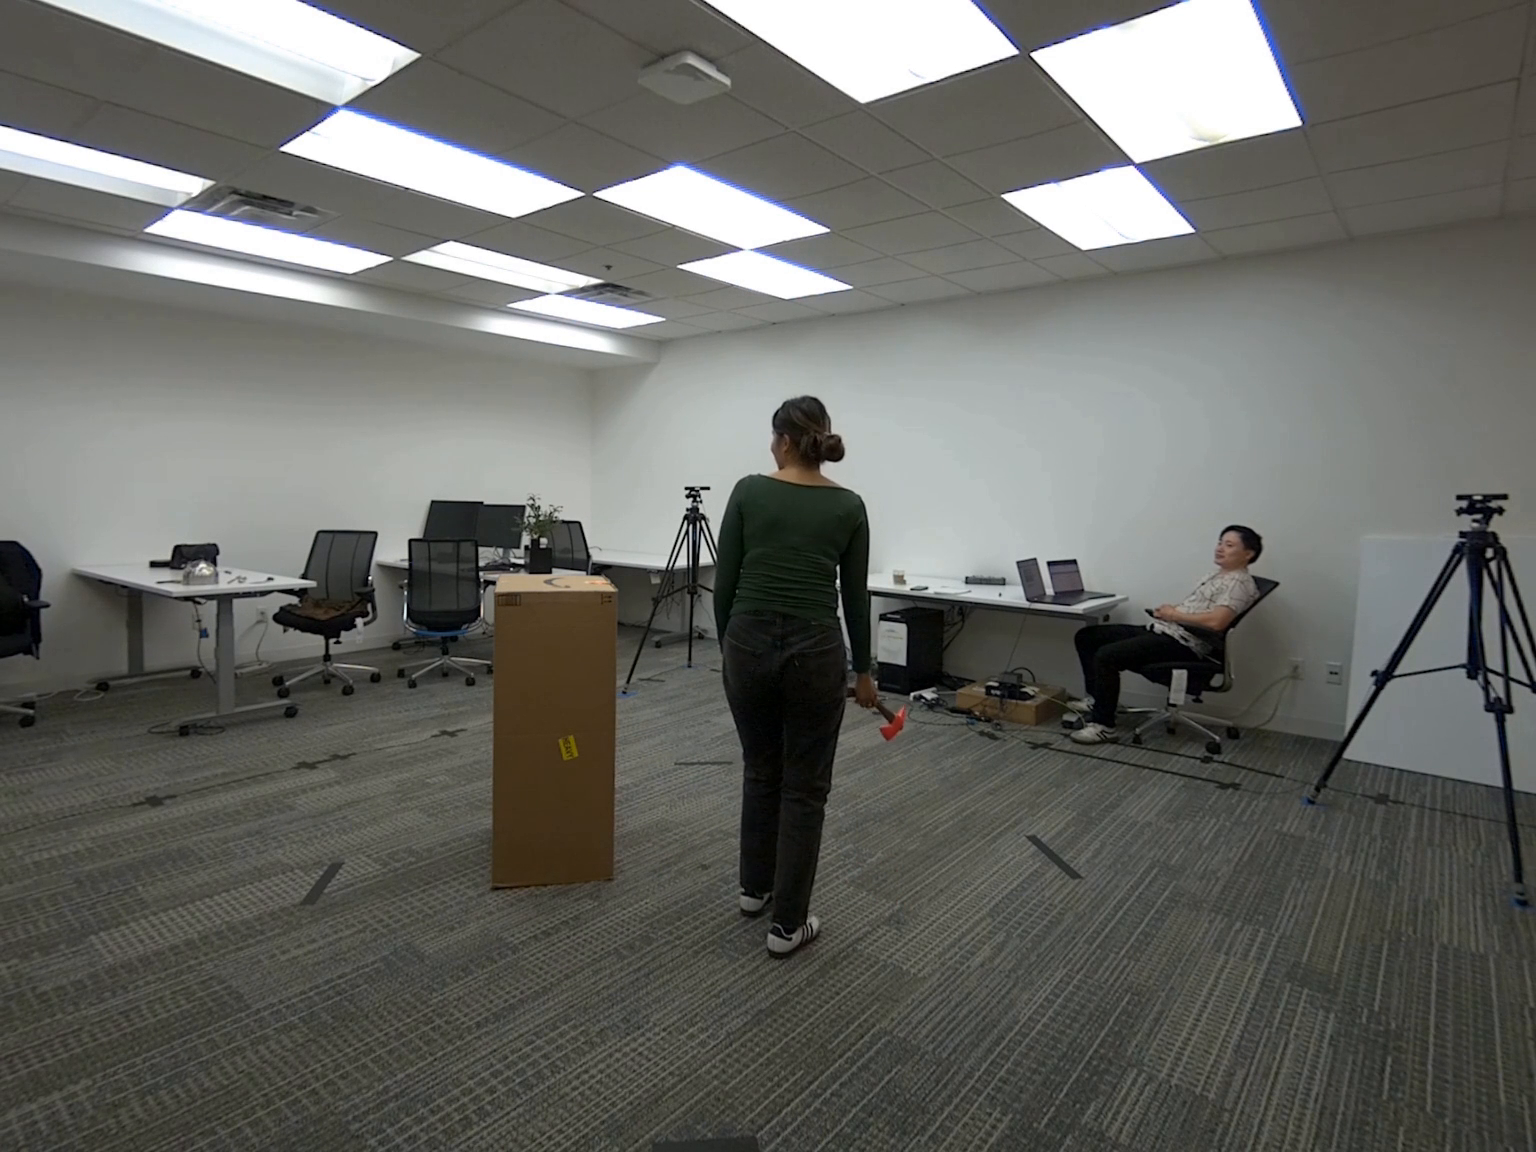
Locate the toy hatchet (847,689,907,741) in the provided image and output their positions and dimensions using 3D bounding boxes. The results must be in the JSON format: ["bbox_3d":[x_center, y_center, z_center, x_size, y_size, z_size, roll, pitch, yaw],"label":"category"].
[{"bbox_3d":[0.340,0.471,2.833,0.264,0.131,0.030,17,-6,-19],"label":"toy hatchet"}]
